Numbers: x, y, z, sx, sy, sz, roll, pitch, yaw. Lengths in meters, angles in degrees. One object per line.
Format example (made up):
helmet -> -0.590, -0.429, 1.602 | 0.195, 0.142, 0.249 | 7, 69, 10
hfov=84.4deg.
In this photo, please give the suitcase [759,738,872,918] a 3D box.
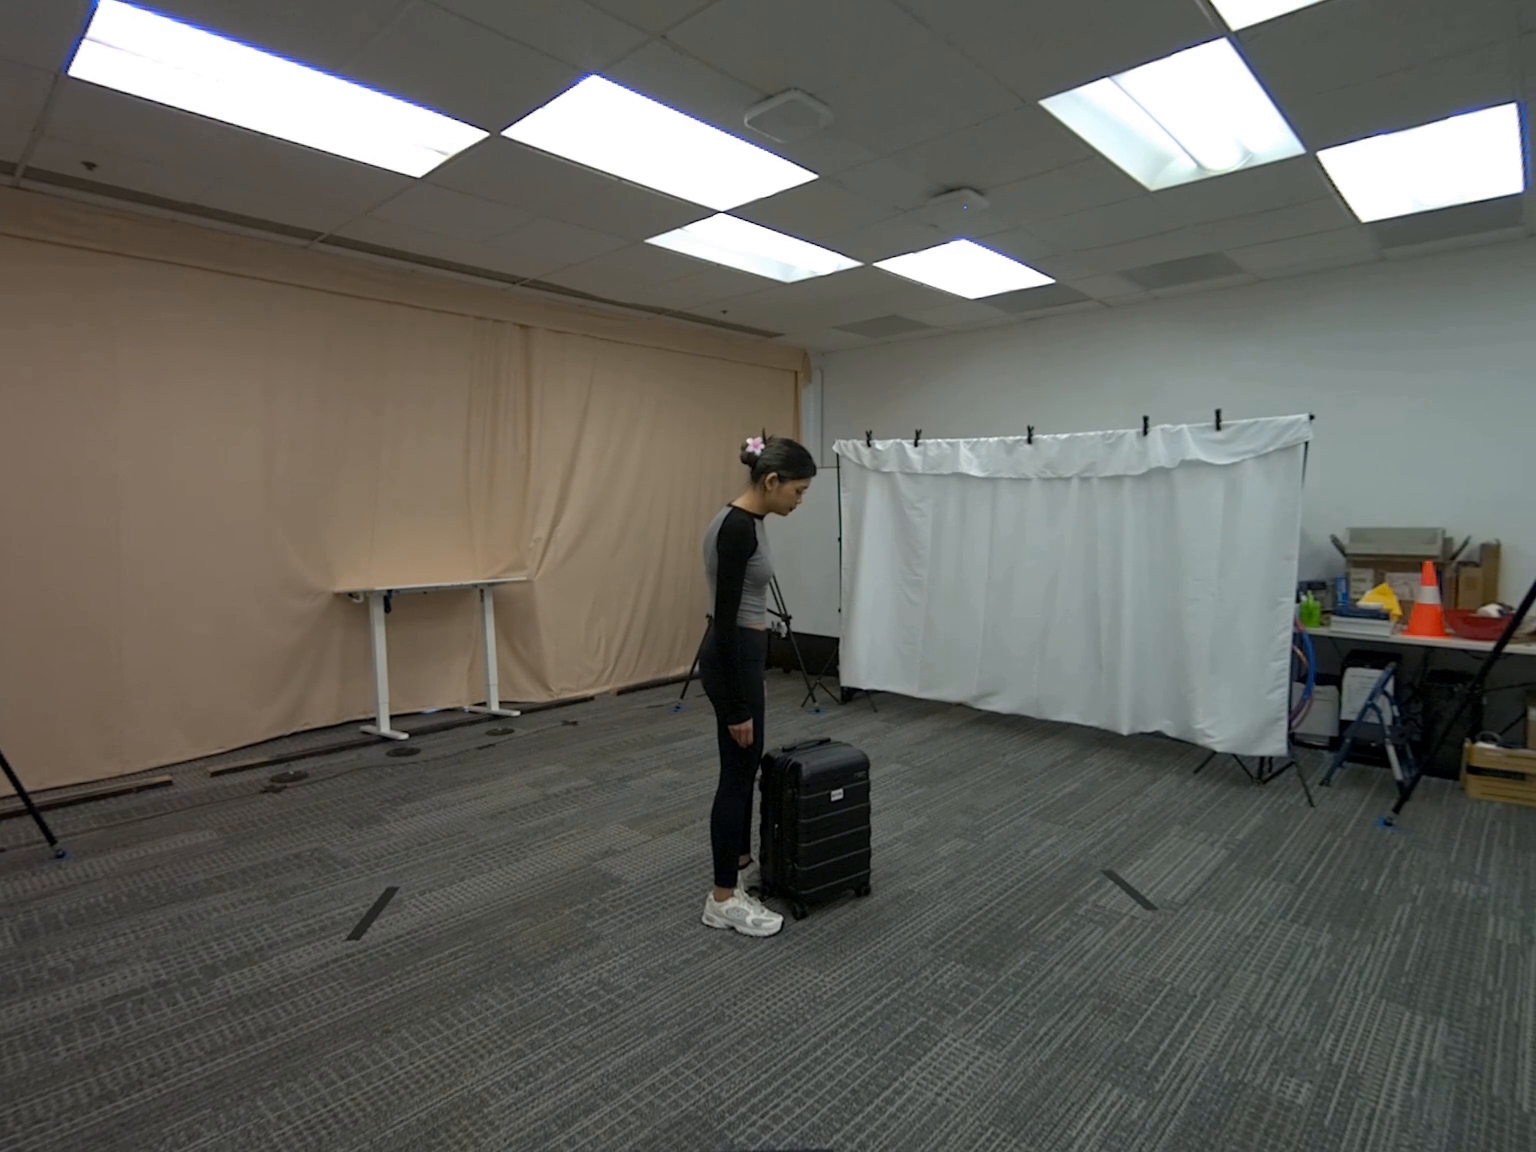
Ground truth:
suitcase -> 0.179, 0.868, 2.984 | 0.364, 0.548, 0.256 | -2, 6, -36
